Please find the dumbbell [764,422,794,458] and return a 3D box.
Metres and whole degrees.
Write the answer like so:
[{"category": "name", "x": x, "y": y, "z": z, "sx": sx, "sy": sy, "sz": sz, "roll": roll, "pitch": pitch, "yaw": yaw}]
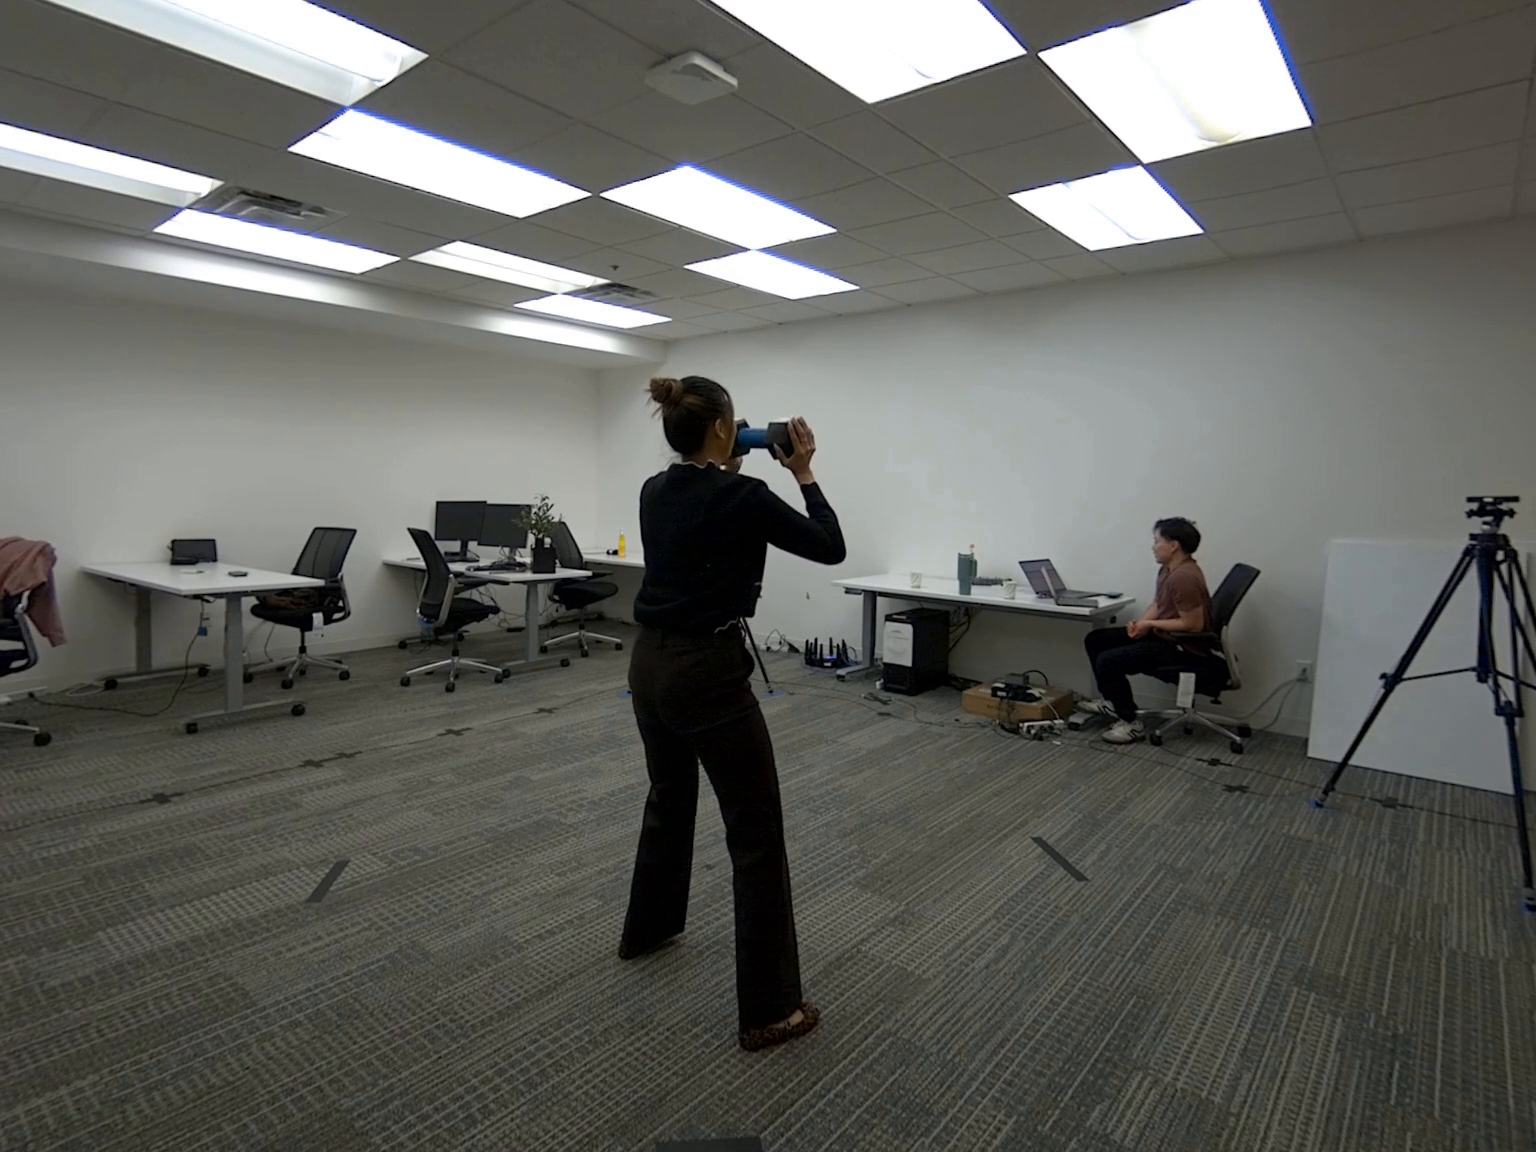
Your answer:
[{"category": "dumbbell", "x": -0.037, "y": -0.391, "z": 2.413, "sx": 0.304, "sy": 0.109, "sz": 0.118, "roll": 8, "pitch": -35, "yaw": 44}]
